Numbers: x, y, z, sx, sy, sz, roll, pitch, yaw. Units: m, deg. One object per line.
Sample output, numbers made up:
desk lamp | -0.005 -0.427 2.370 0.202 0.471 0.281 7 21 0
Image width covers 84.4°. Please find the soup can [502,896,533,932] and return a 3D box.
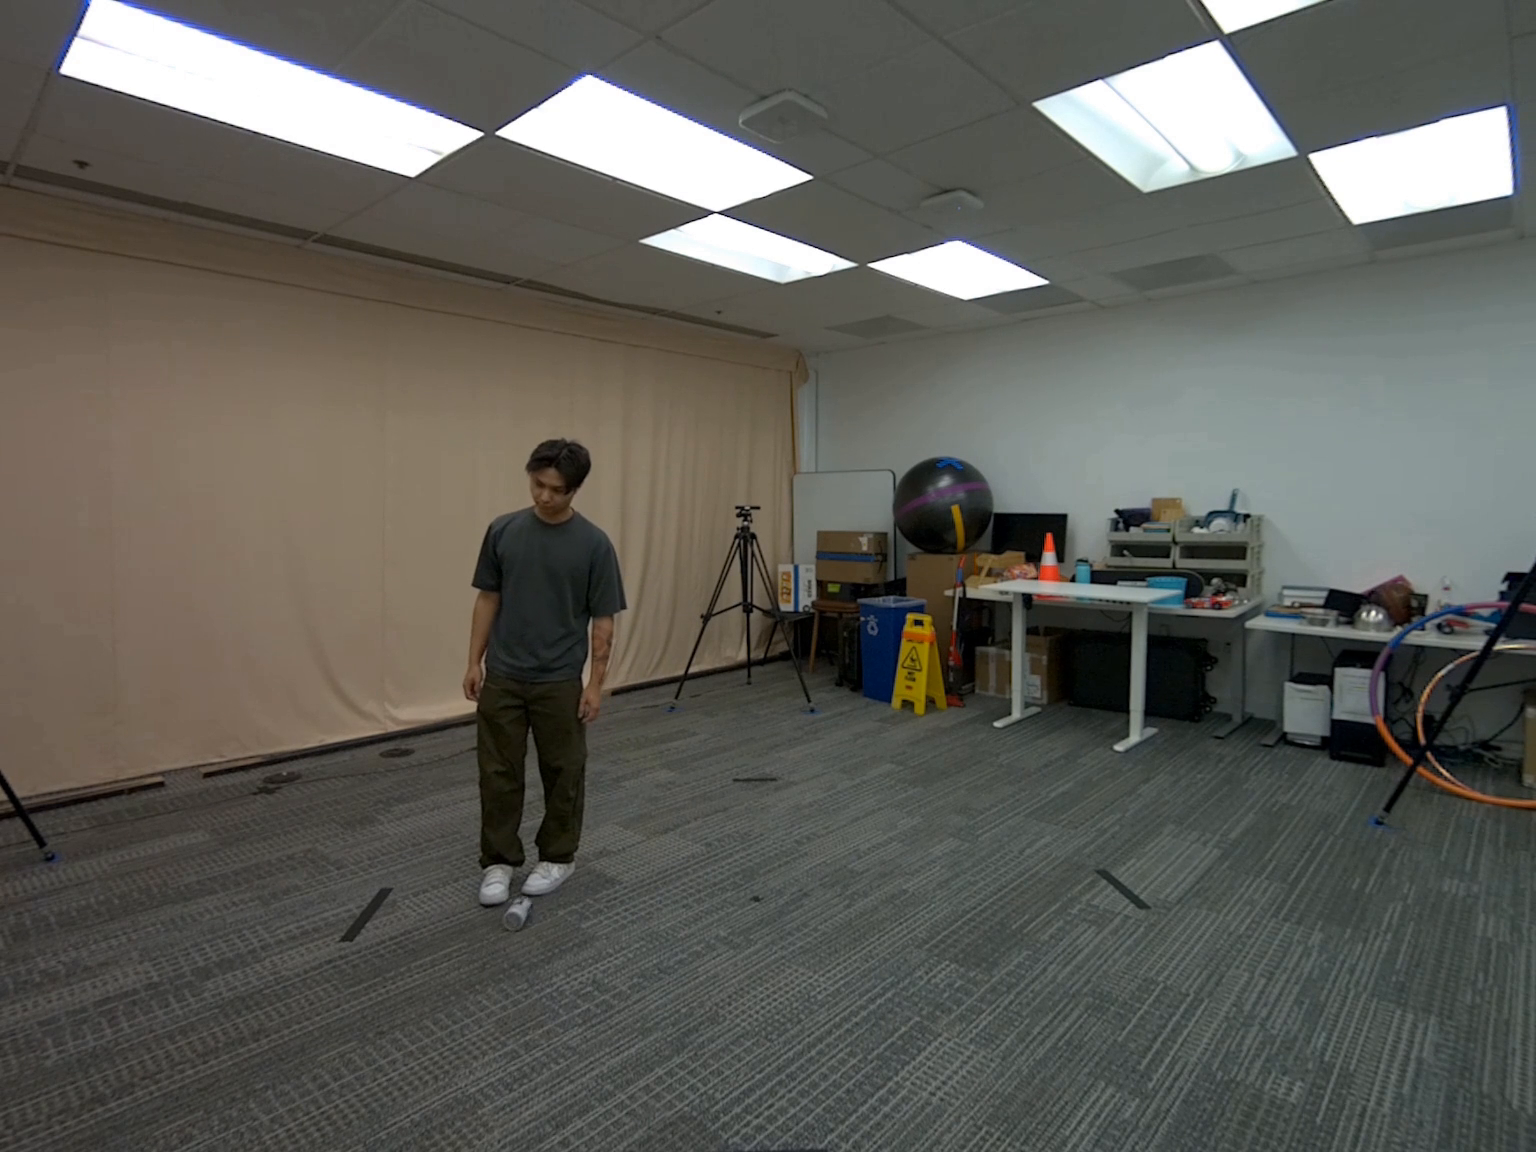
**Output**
soup can | -0.843 1.126 2.823 0.067 0.067 0.122 0 2 -3
